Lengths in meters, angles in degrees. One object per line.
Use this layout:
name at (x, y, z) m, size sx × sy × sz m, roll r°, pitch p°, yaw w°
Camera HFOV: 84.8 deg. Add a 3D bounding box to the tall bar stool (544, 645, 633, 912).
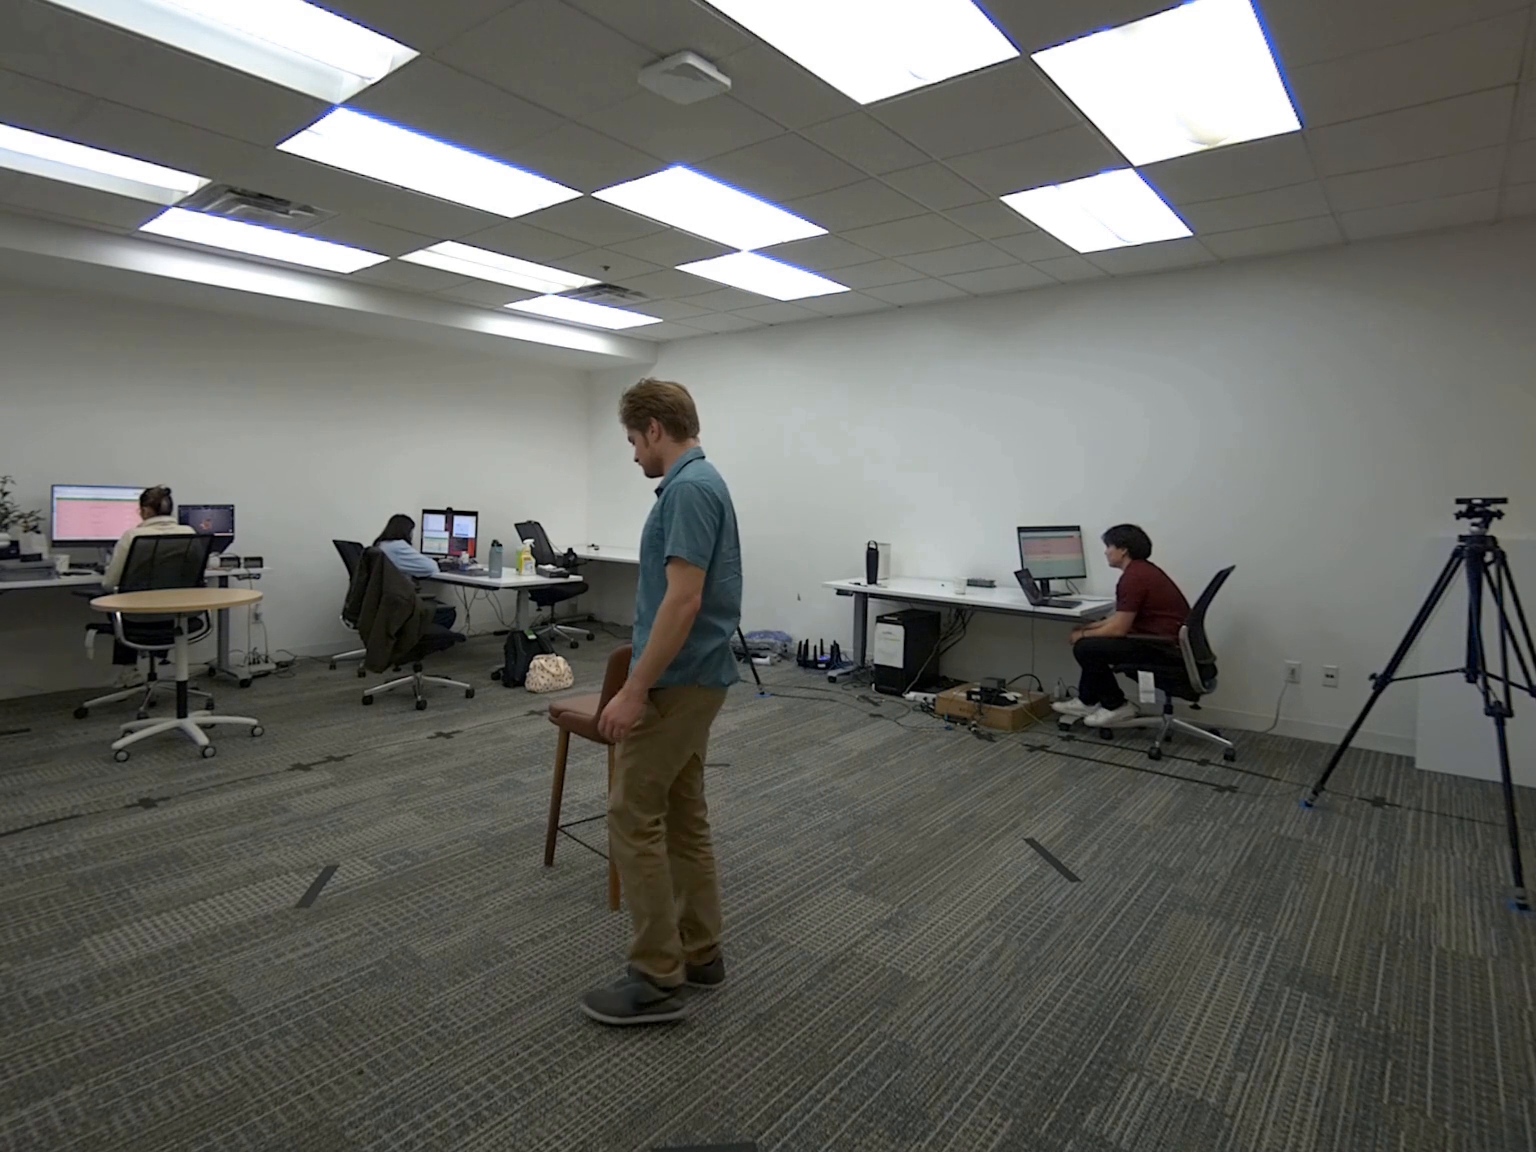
tall bar stool at (-0.517, 0.632, 3.051) m, size 0.442 × 0.886 × 0.484 m, roll -1°, pitch 6°, yaw -42°
